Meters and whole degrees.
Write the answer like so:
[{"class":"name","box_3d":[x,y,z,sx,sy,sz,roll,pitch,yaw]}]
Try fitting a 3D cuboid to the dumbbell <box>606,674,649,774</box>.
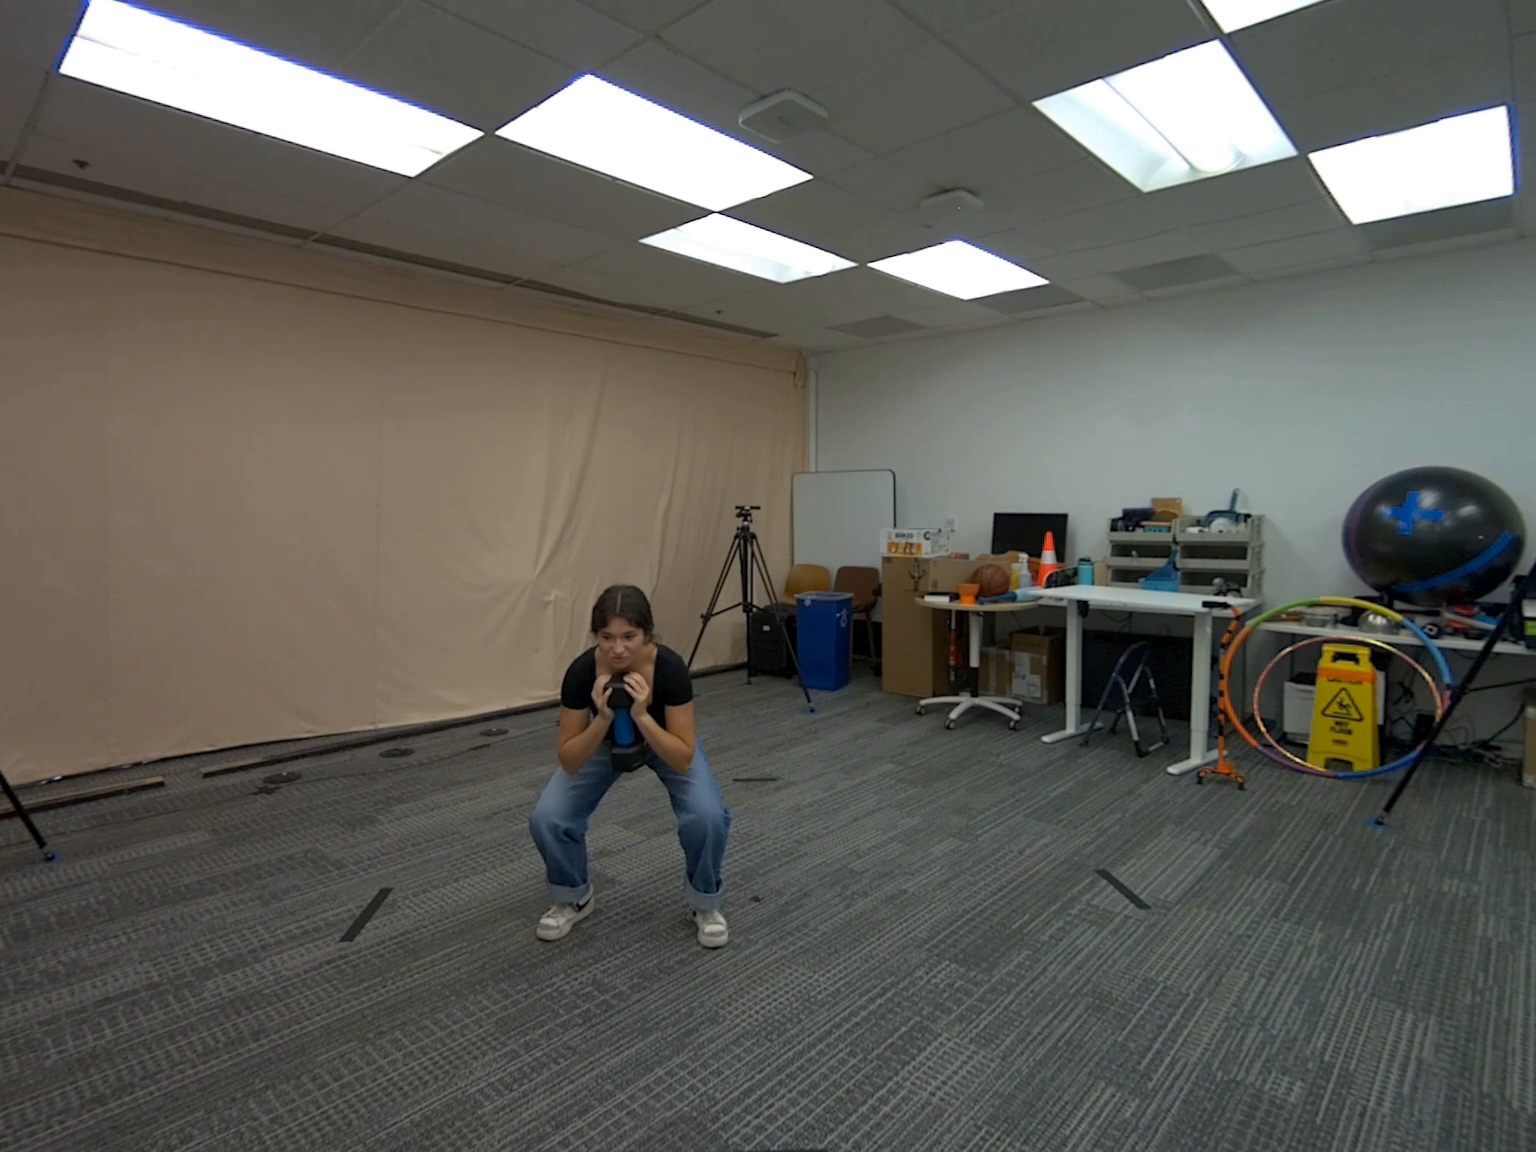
[{"class":"dumbbell","box_3d":[-0.440,0.448,2.591,0.112,0.290,0.120,12,21,38]}]
